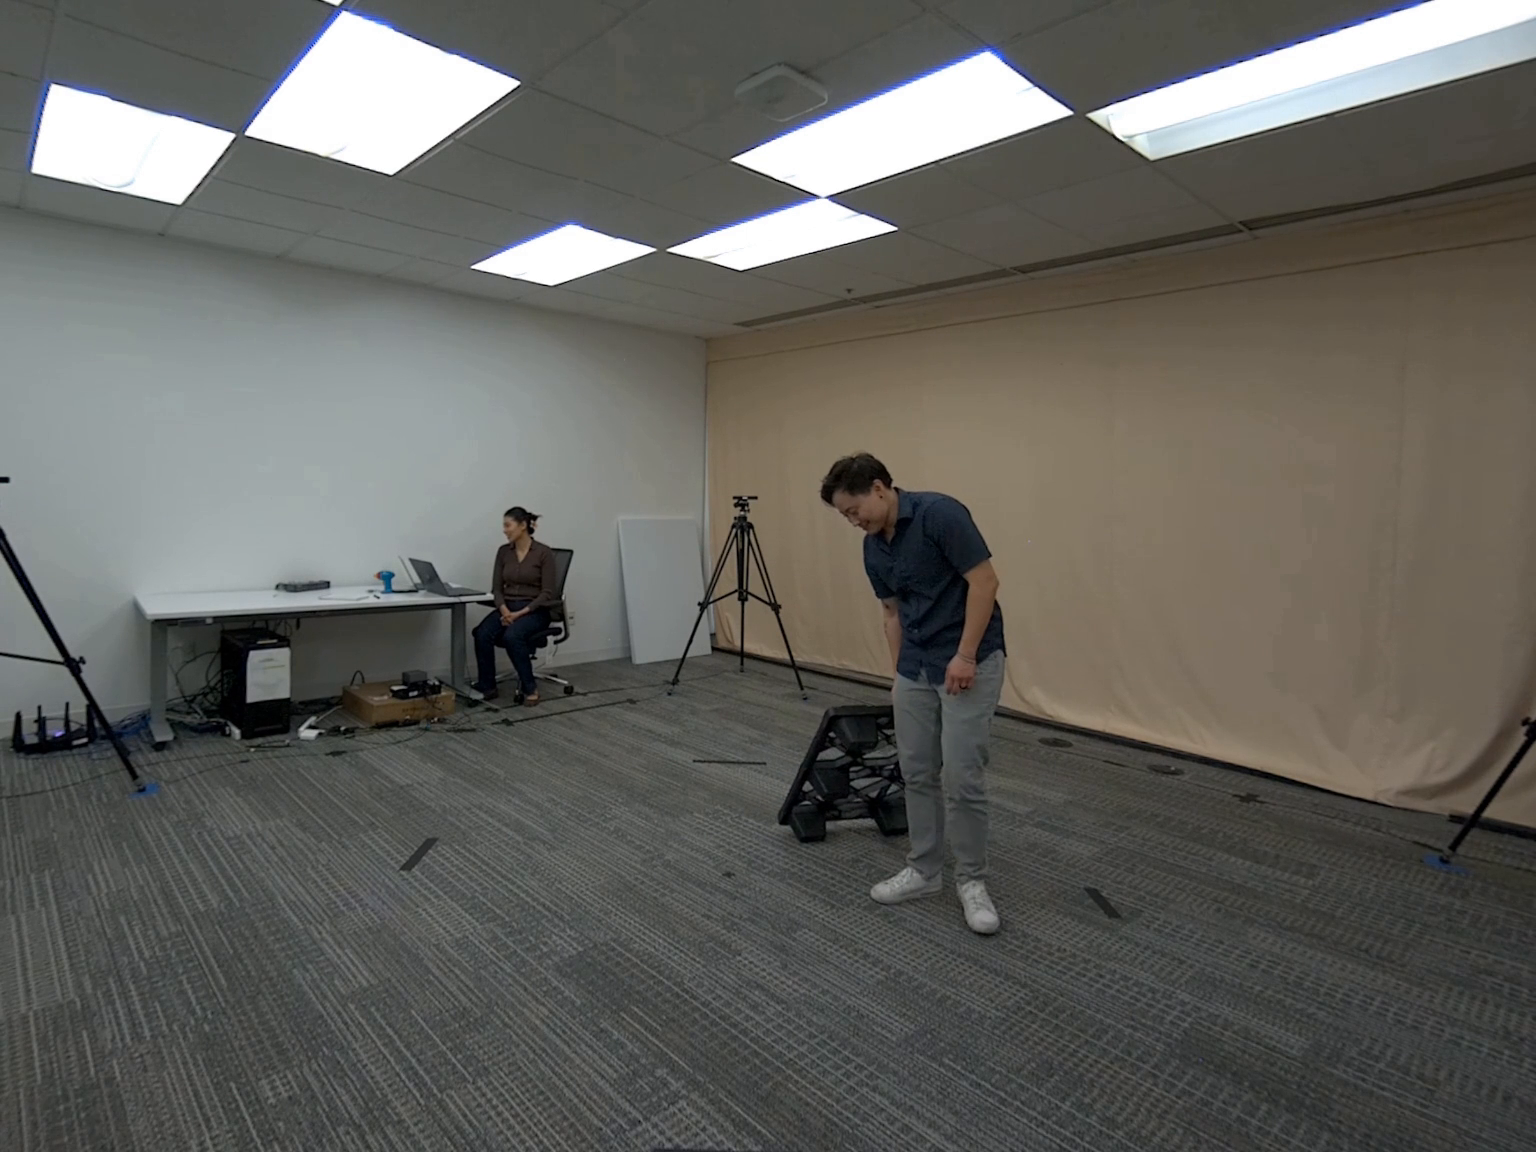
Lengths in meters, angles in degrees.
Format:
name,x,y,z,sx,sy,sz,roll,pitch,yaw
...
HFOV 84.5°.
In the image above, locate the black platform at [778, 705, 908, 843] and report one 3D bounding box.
name,x,y,z,sx,sy,sz,roll,pitch,yaw
black platform,0.418,0.783,3.273,0.598,0.793,0.147,1,45,-15
